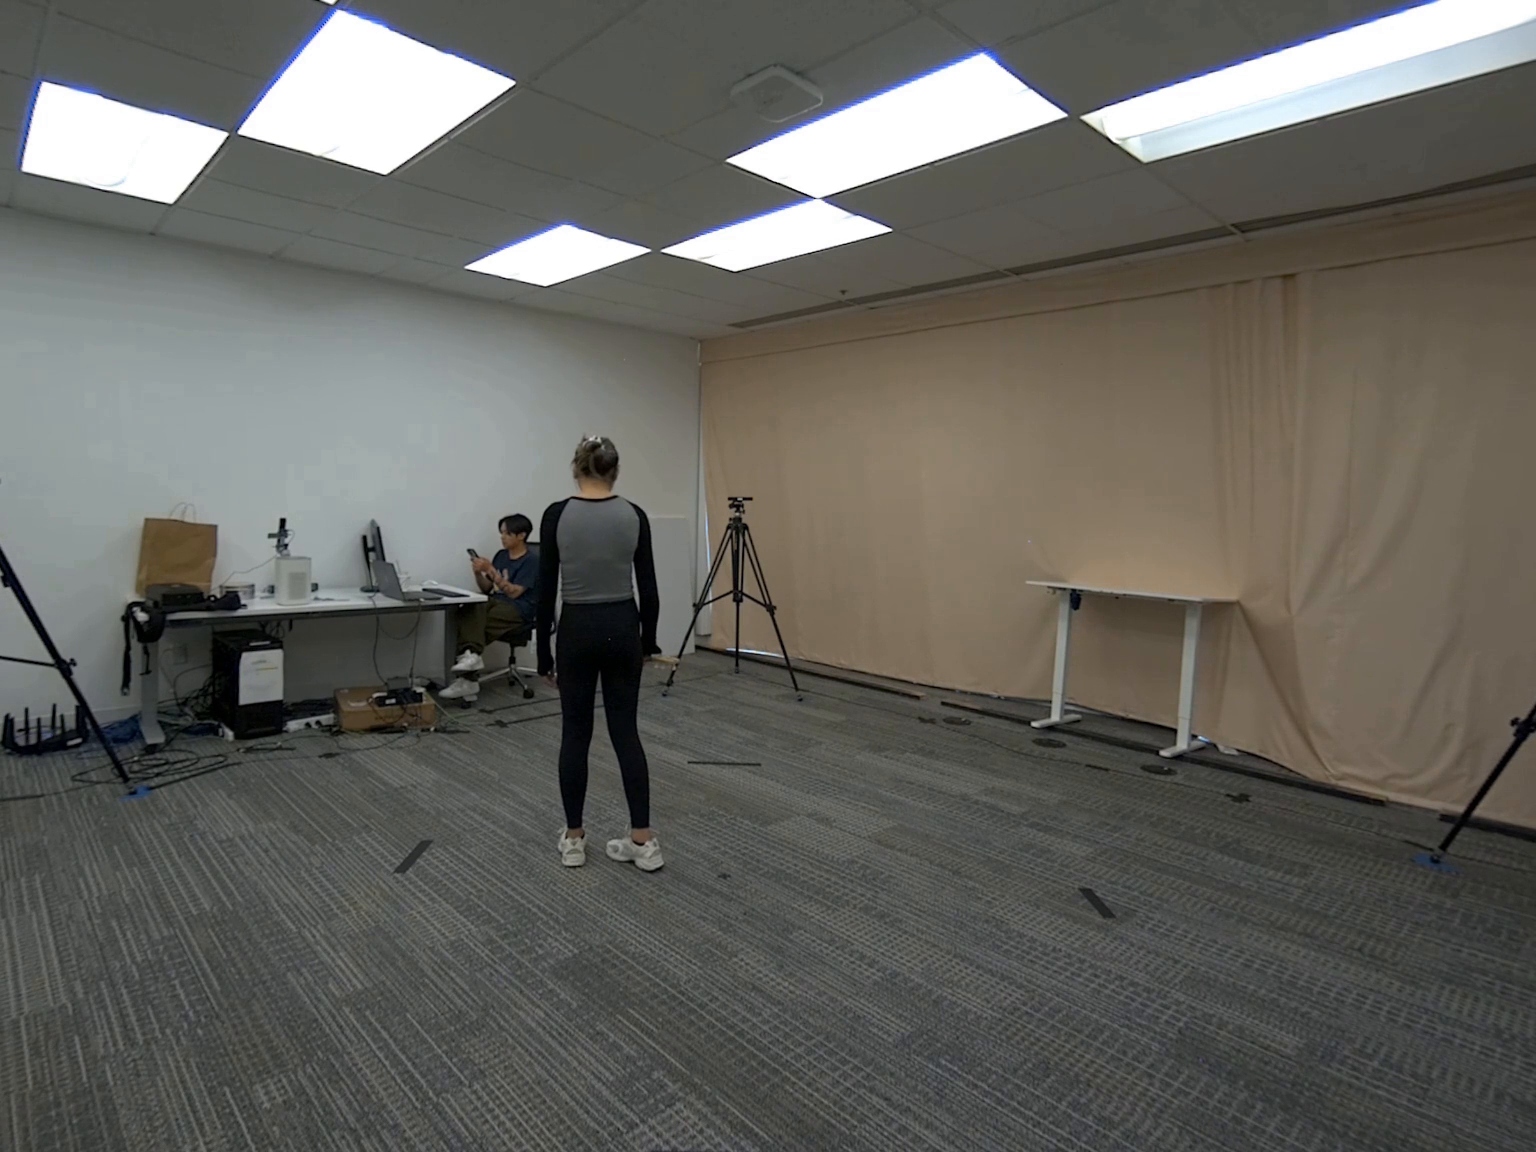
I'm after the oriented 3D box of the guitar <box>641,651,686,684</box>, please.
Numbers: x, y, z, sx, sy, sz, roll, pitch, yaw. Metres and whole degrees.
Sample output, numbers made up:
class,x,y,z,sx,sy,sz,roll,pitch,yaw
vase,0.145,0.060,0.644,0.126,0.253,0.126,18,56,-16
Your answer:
class,x,y,z,sx,sy,sz,roll,pitch,yaw
guitar,-0.547,0.336,3.398,0.189,0.070,0.510,-4,7,-36
